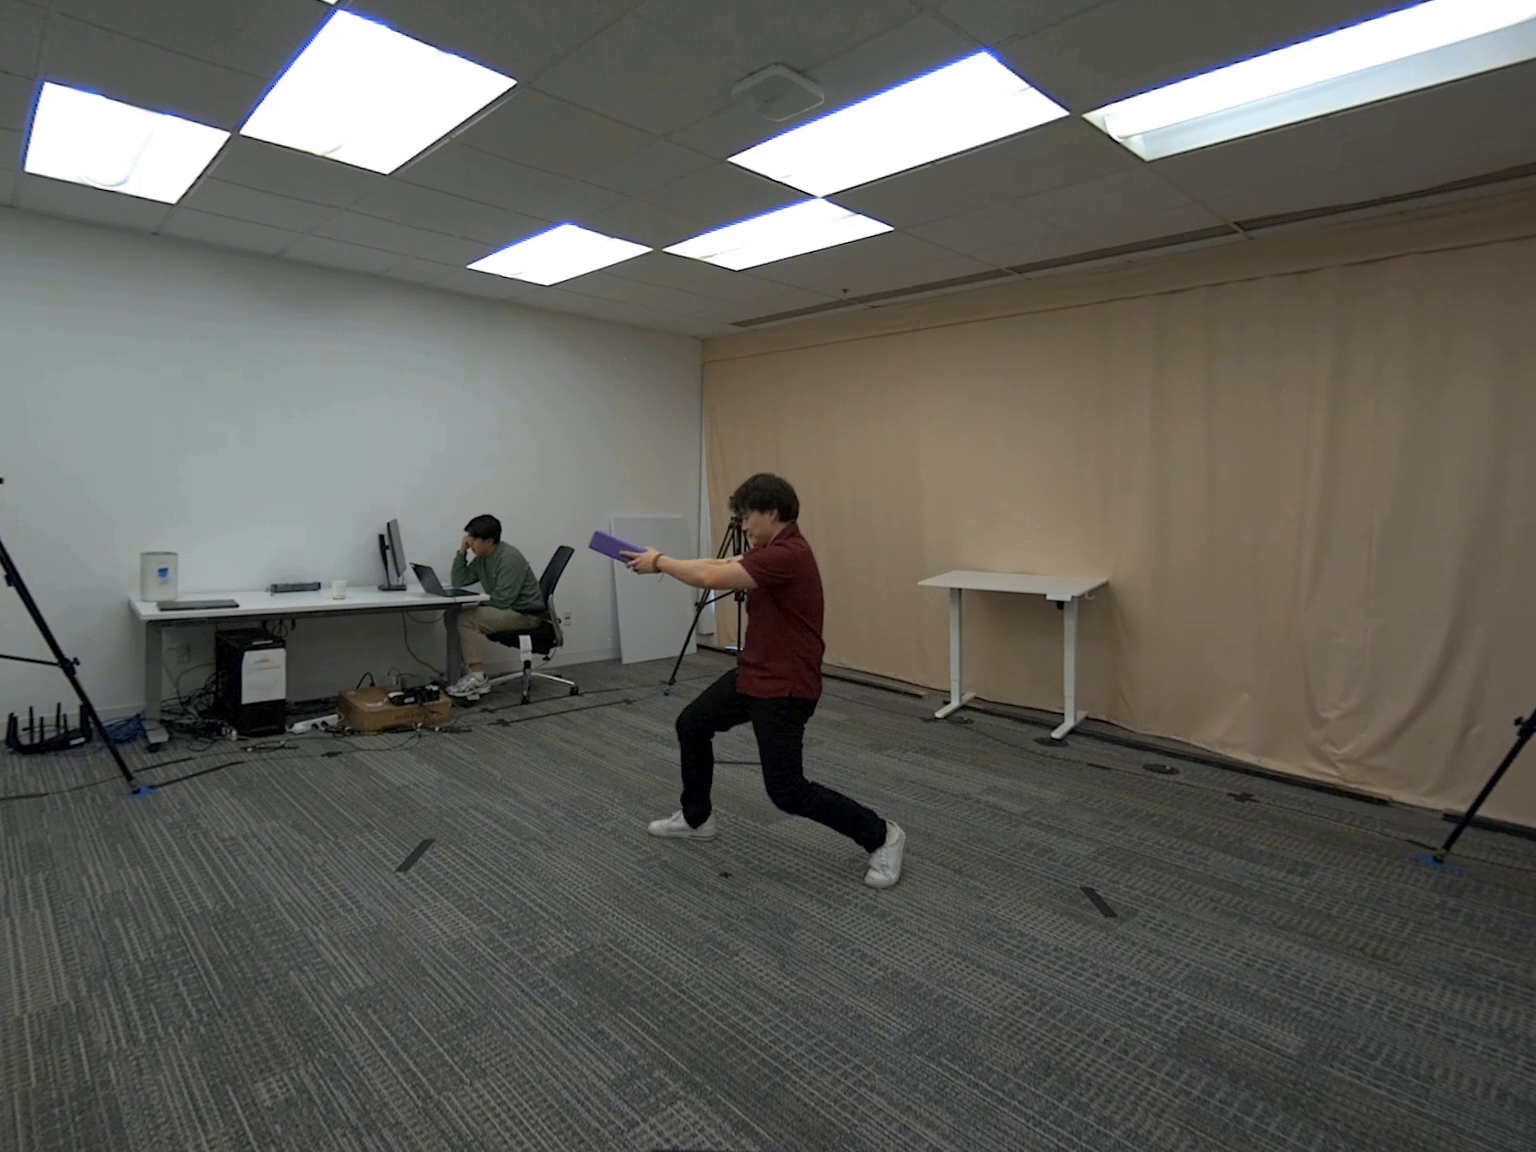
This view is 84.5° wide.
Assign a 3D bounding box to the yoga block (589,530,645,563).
[{"bbox_3d":[-0.563,-0.080,3.273,0.229,0.076,0.149,23,1,0],"label":"yoga block"}]
